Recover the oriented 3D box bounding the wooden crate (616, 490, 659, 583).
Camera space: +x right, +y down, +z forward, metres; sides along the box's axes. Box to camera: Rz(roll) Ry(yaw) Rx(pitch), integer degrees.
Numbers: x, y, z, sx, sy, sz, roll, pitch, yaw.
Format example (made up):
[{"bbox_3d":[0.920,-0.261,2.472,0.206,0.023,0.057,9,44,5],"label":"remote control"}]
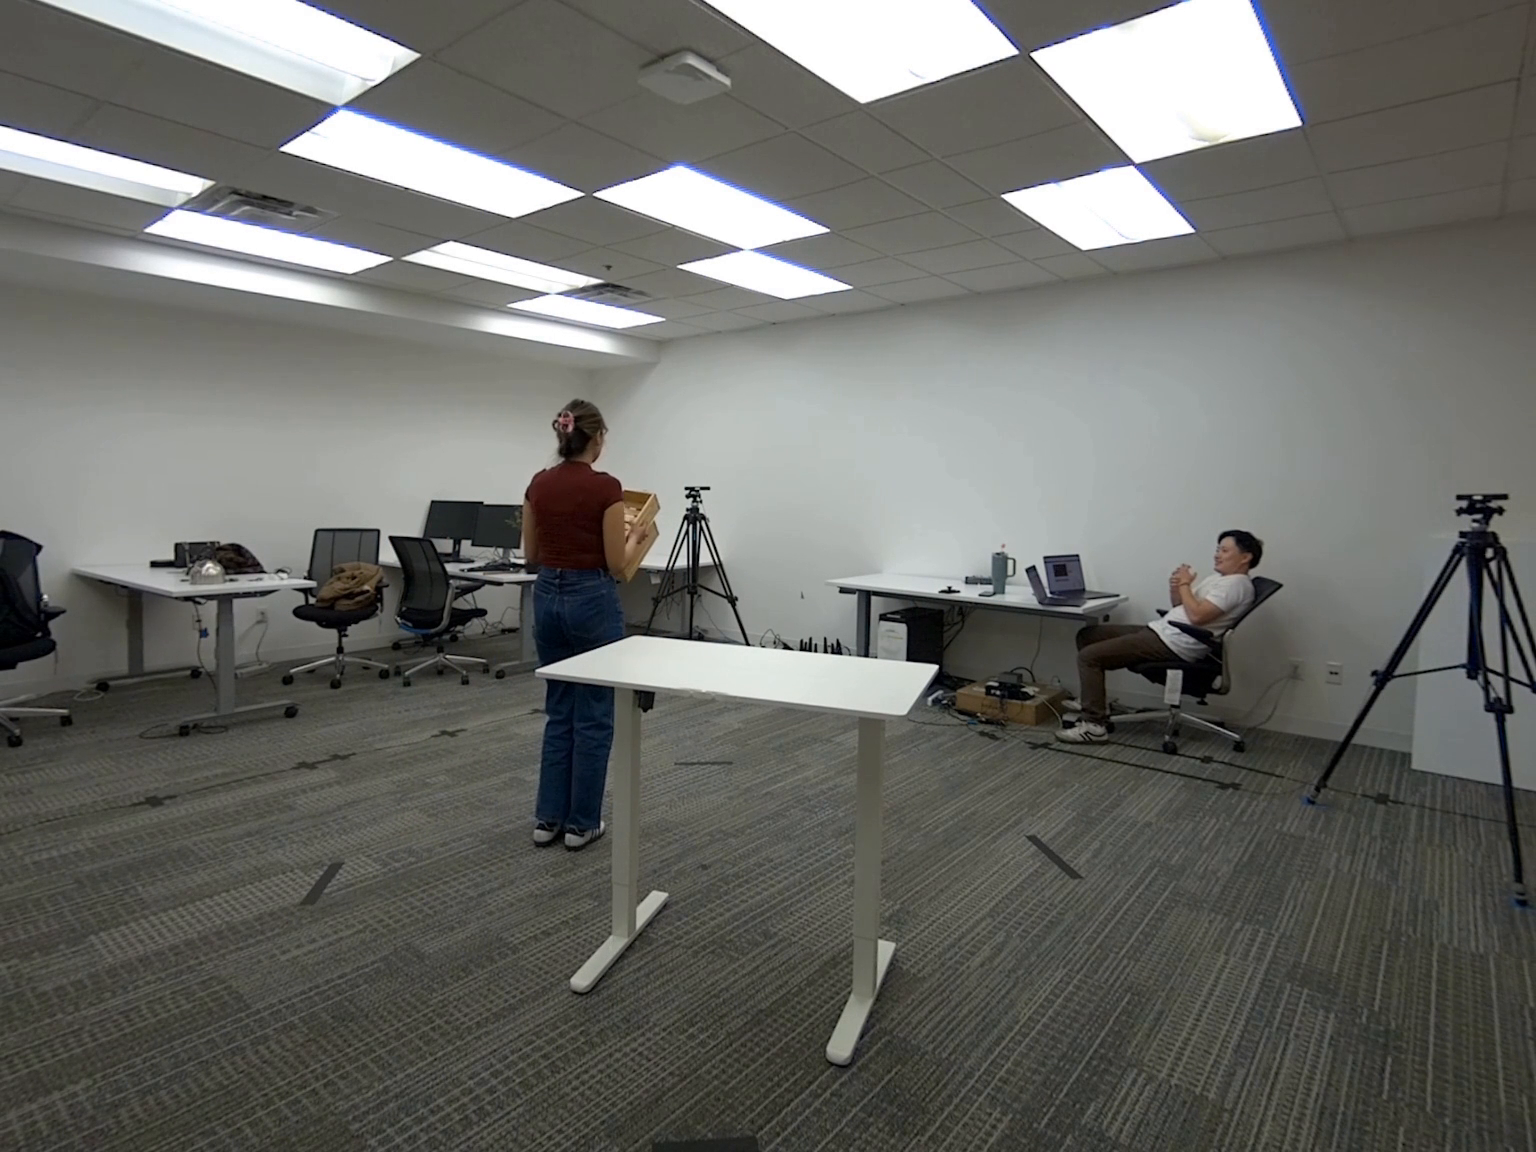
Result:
[{"bbox_3d":[-0.662,-0.186,3.670,0.310,0.264,0.327,10,49,22],"label":"wooden crate"}]
